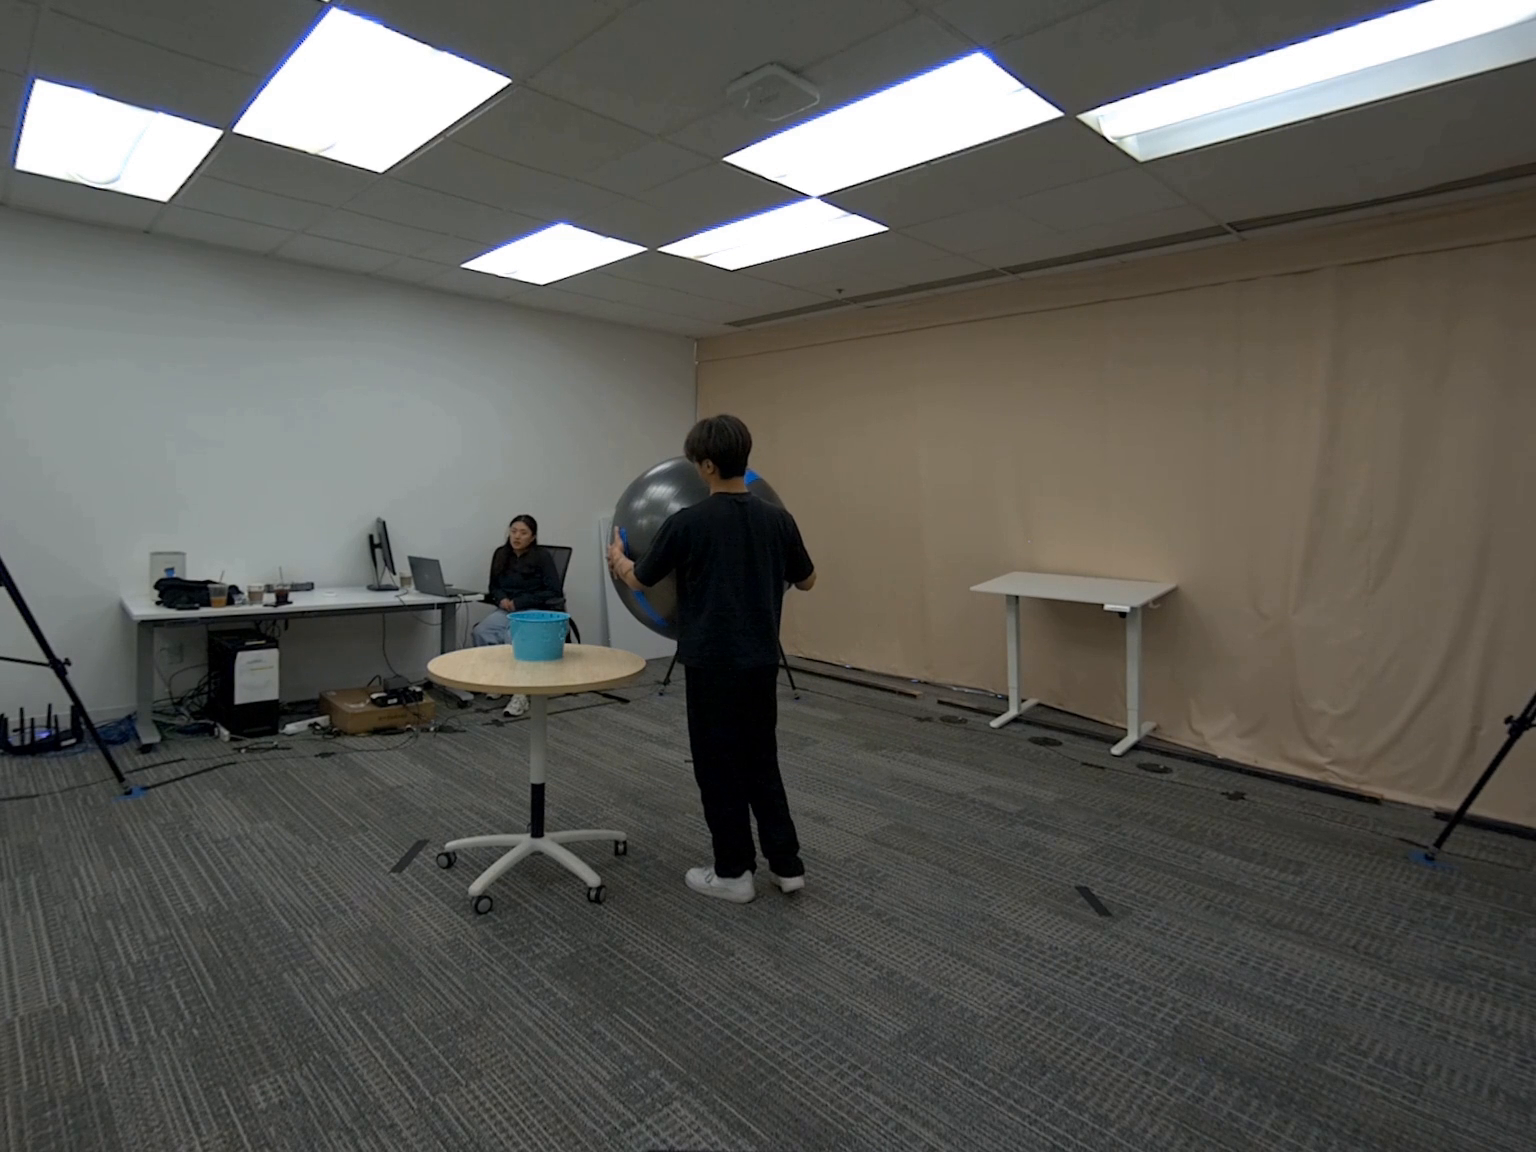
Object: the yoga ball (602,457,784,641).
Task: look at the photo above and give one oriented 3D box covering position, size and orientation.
[{"bbox_3d":[-0.273,-0.104,3.392,0.757,0.756,0.761,1,4,-1],"label":"yoga ball"}]
